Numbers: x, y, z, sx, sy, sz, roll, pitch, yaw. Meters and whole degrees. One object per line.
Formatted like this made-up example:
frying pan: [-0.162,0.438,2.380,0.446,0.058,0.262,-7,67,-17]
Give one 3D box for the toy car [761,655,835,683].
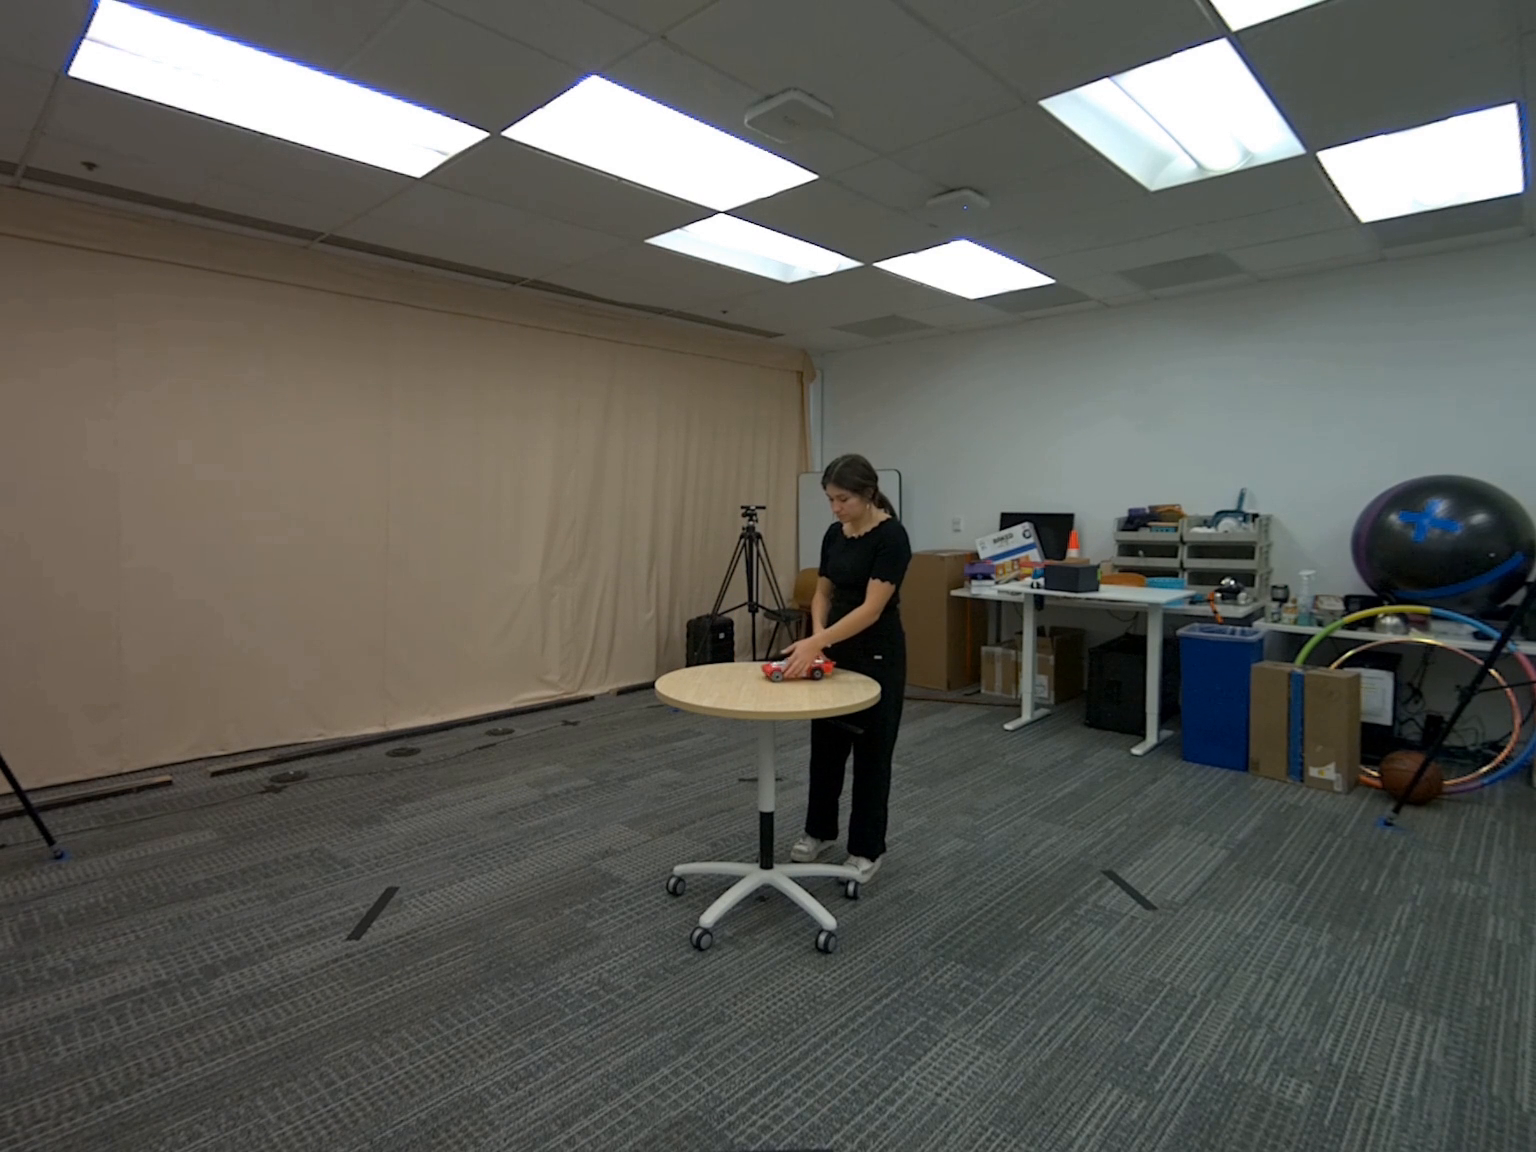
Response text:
toy car: [0.111,0.329,2.960,0.252,0.083,0.132,-10,7,-9]
